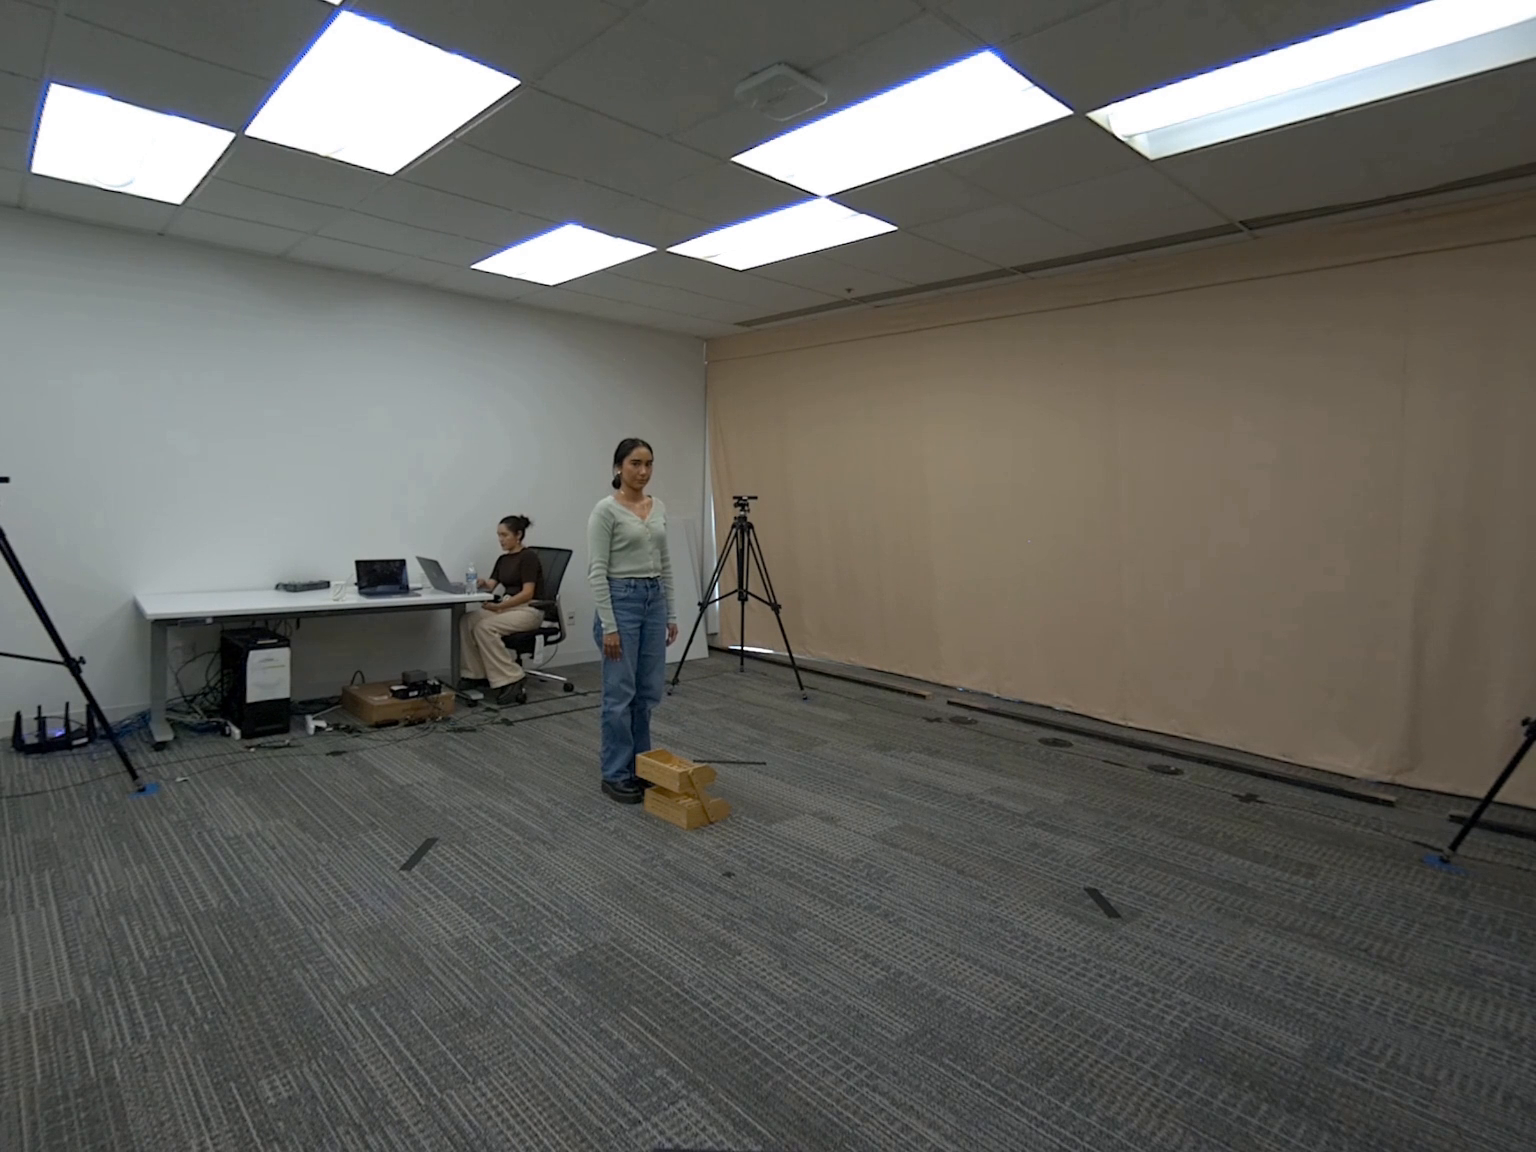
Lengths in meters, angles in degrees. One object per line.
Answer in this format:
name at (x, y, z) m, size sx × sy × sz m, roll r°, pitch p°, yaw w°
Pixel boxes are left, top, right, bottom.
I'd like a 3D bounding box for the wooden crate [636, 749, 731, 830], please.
wooden crate at (-0.378, 0.912, 3.685) m, size 0.295 × 0.272 × 0.333 m, roll -4°, pitch 7°, yaw -44°
